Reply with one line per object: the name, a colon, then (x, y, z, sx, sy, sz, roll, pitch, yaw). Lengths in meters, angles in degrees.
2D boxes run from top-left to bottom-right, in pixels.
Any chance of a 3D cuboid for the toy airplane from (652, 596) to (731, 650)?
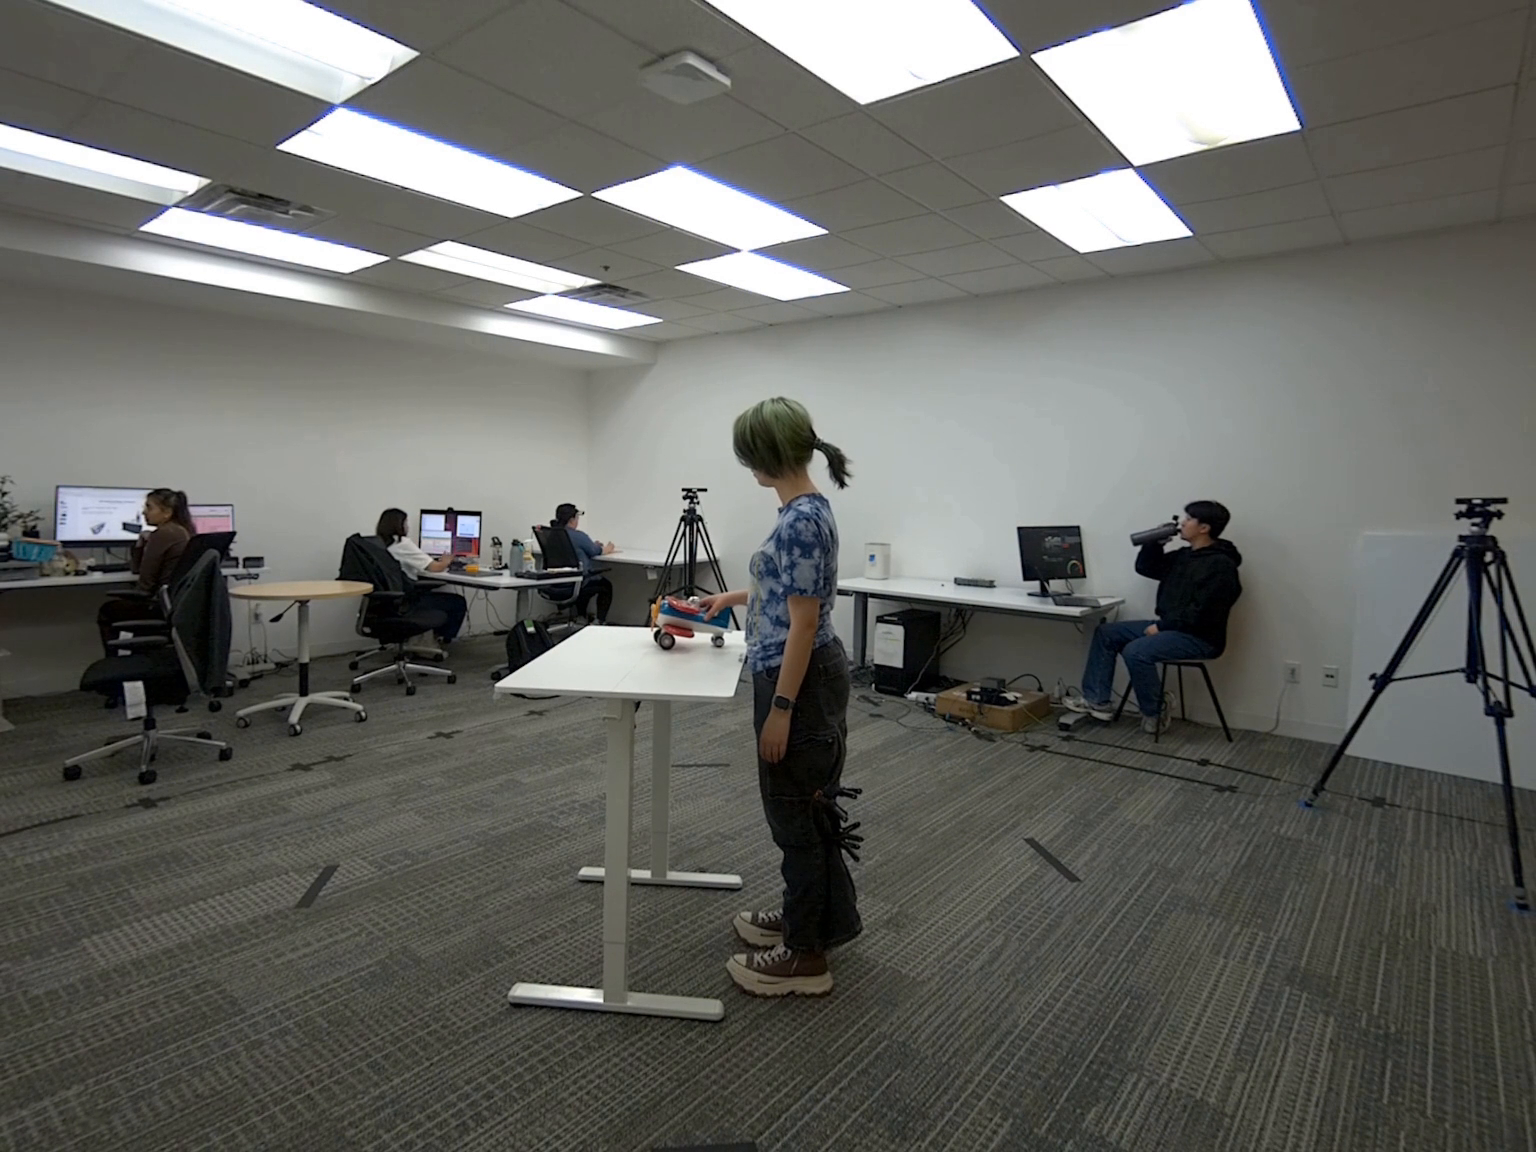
toy airplane: (-0.269, 0.147, 2.745, 0.251, 0.156, 0.260, -4, 6, -41)
